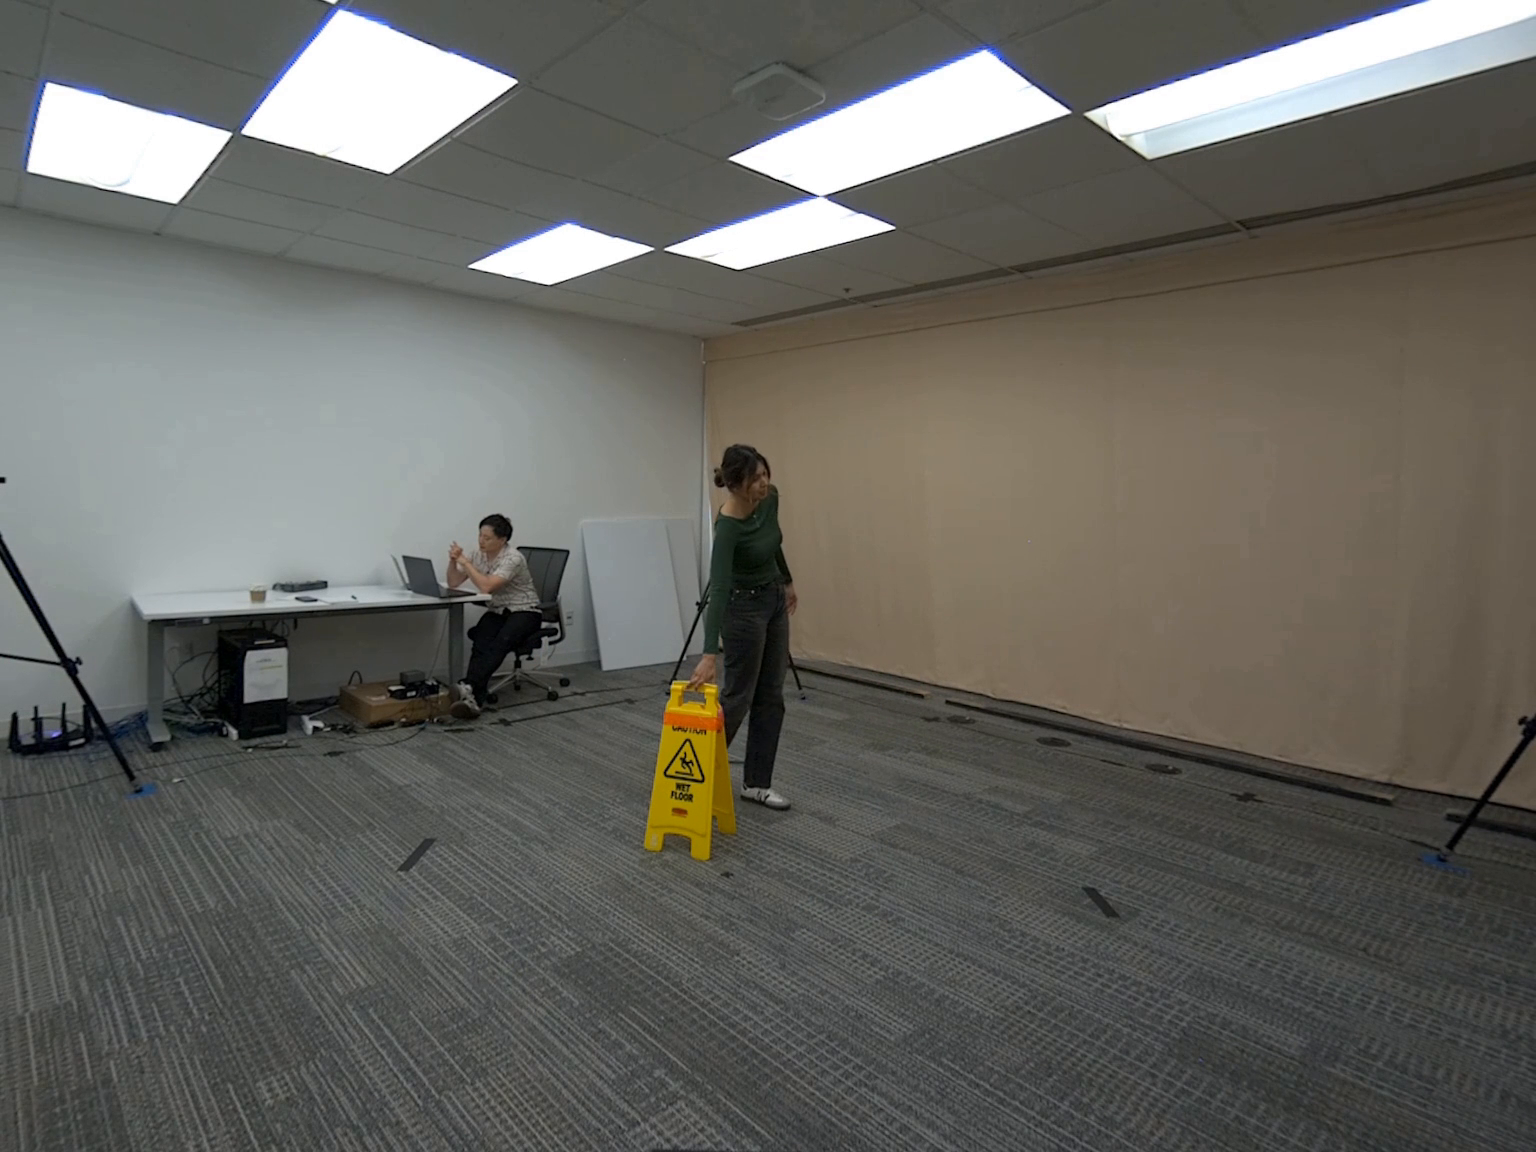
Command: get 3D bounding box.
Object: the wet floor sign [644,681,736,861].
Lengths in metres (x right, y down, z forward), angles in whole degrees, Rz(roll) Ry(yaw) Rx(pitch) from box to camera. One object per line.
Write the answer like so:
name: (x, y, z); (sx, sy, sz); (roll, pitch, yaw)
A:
wet floor sign: (-0.313, 0.752, 3.385); (0.287, 0.644, 0.286); (1, 4, 21)
